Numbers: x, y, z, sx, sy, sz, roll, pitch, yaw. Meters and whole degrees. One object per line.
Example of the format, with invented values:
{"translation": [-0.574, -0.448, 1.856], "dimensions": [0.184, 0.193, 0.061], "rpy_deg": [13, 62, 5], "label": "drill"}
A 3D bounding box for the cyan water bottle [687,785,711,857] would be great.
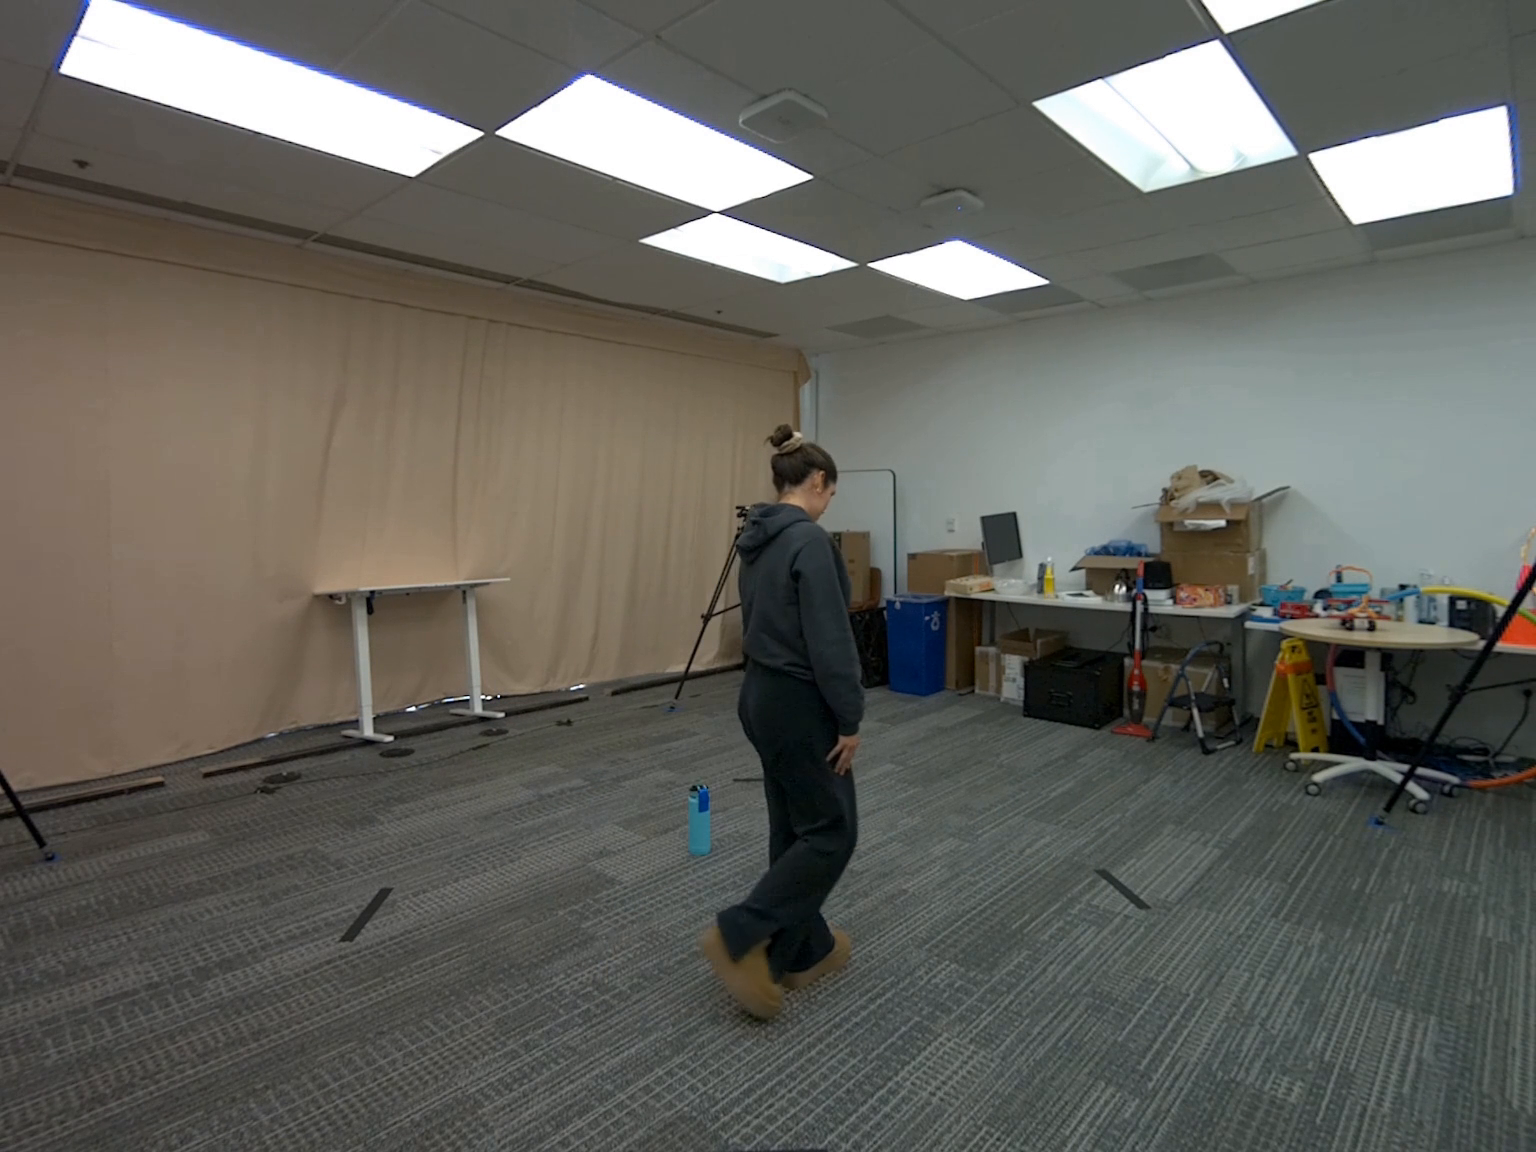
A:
{"translation": [-0.255, 0.970, 3.391], "dimensions": [0.092, 0.283, 0.093], "rpy_deg": [0, 4, -2], "label": "cyan water bottle"}
